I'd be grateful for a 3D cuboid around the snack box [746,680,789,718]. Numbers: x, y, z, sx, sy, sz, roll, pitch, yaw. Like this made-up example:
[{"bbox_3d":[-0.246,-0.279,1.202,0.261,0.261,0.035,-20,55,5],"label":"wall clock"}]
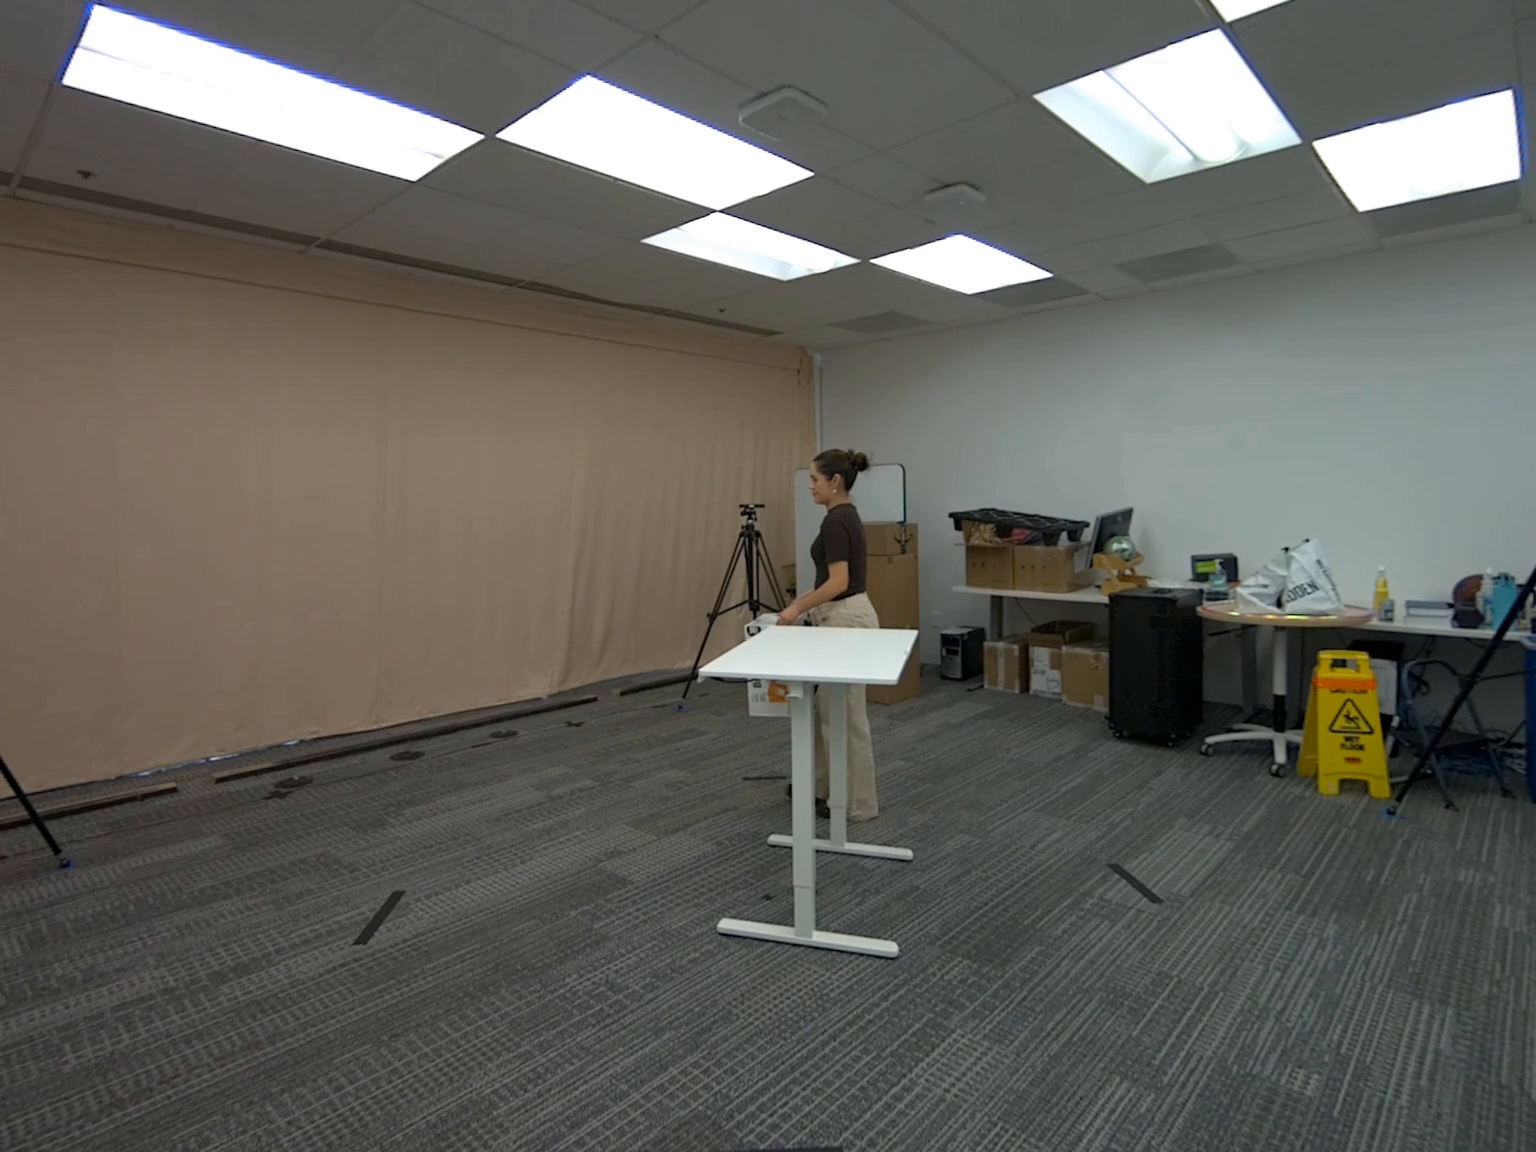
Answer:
[{"bbox_3d":[0.047,0.404,3.876,0.209,0.404,0.336,-2,4,14],"label":"snack box"}]
